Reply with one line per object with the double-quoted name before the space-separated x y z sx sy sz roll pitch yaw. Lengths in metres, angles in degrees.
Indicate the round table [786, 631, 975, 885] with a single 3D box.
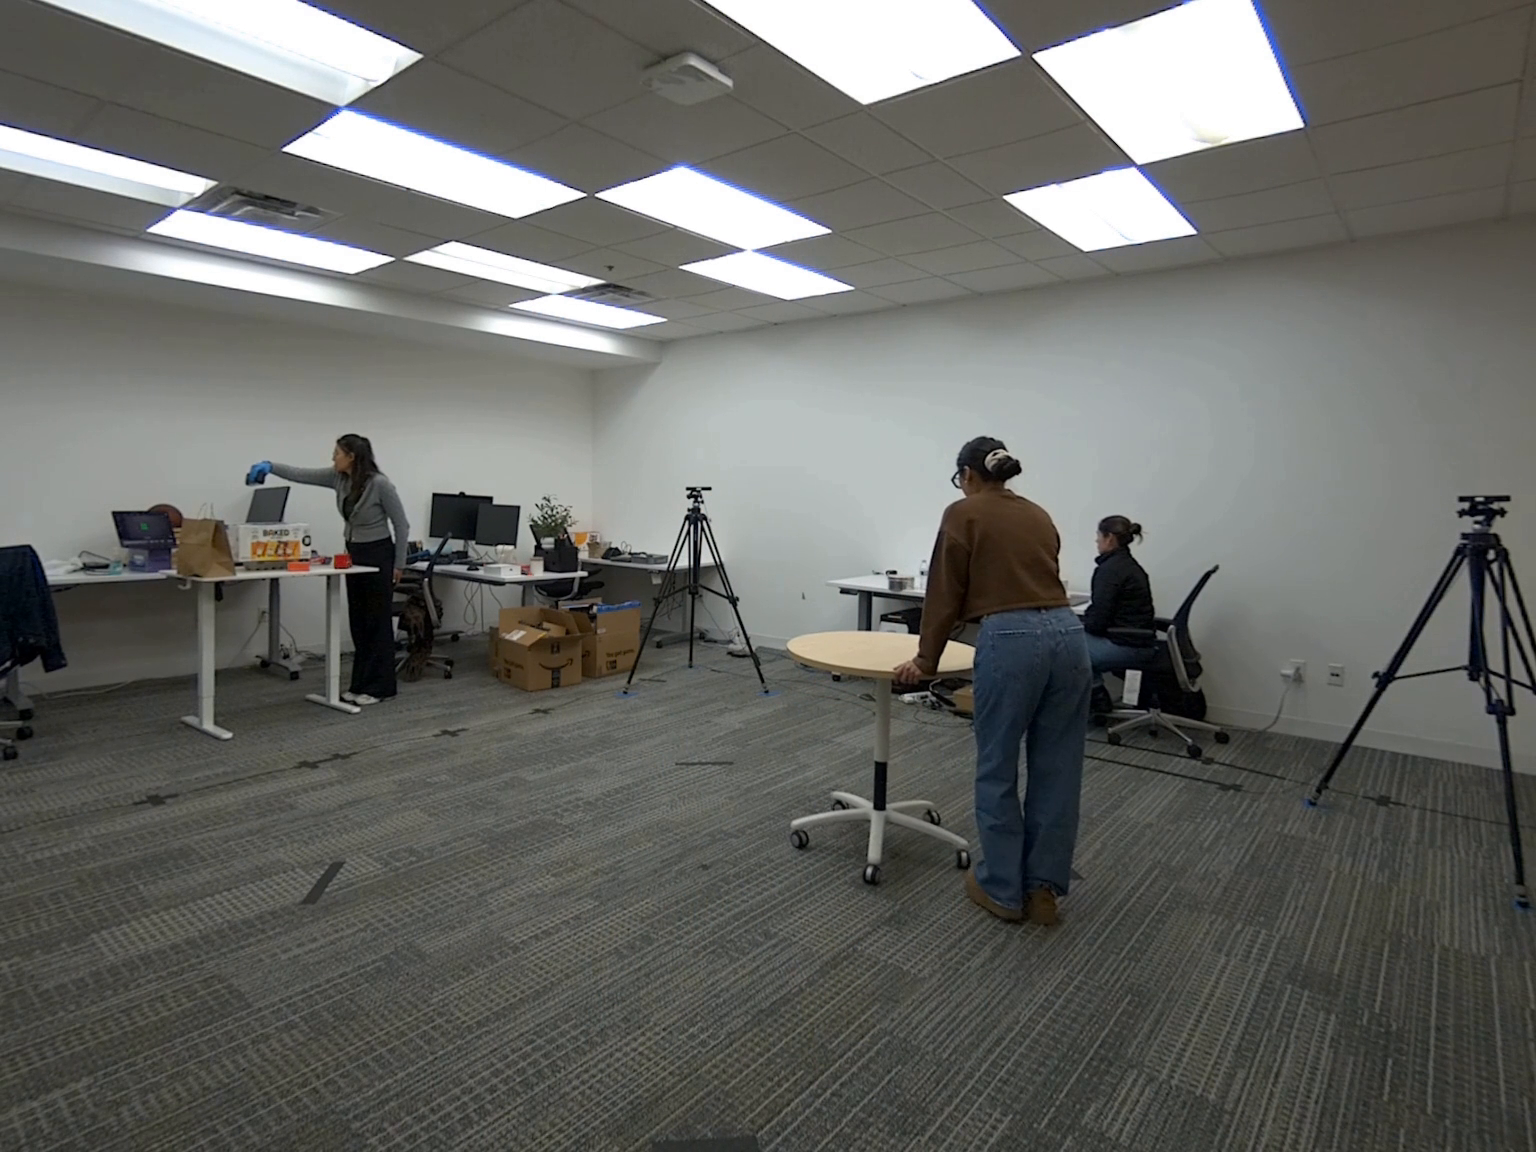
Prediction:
"round table" 0.442 0.672 3.334 0.763 0.791 0.768 2 5 -2
